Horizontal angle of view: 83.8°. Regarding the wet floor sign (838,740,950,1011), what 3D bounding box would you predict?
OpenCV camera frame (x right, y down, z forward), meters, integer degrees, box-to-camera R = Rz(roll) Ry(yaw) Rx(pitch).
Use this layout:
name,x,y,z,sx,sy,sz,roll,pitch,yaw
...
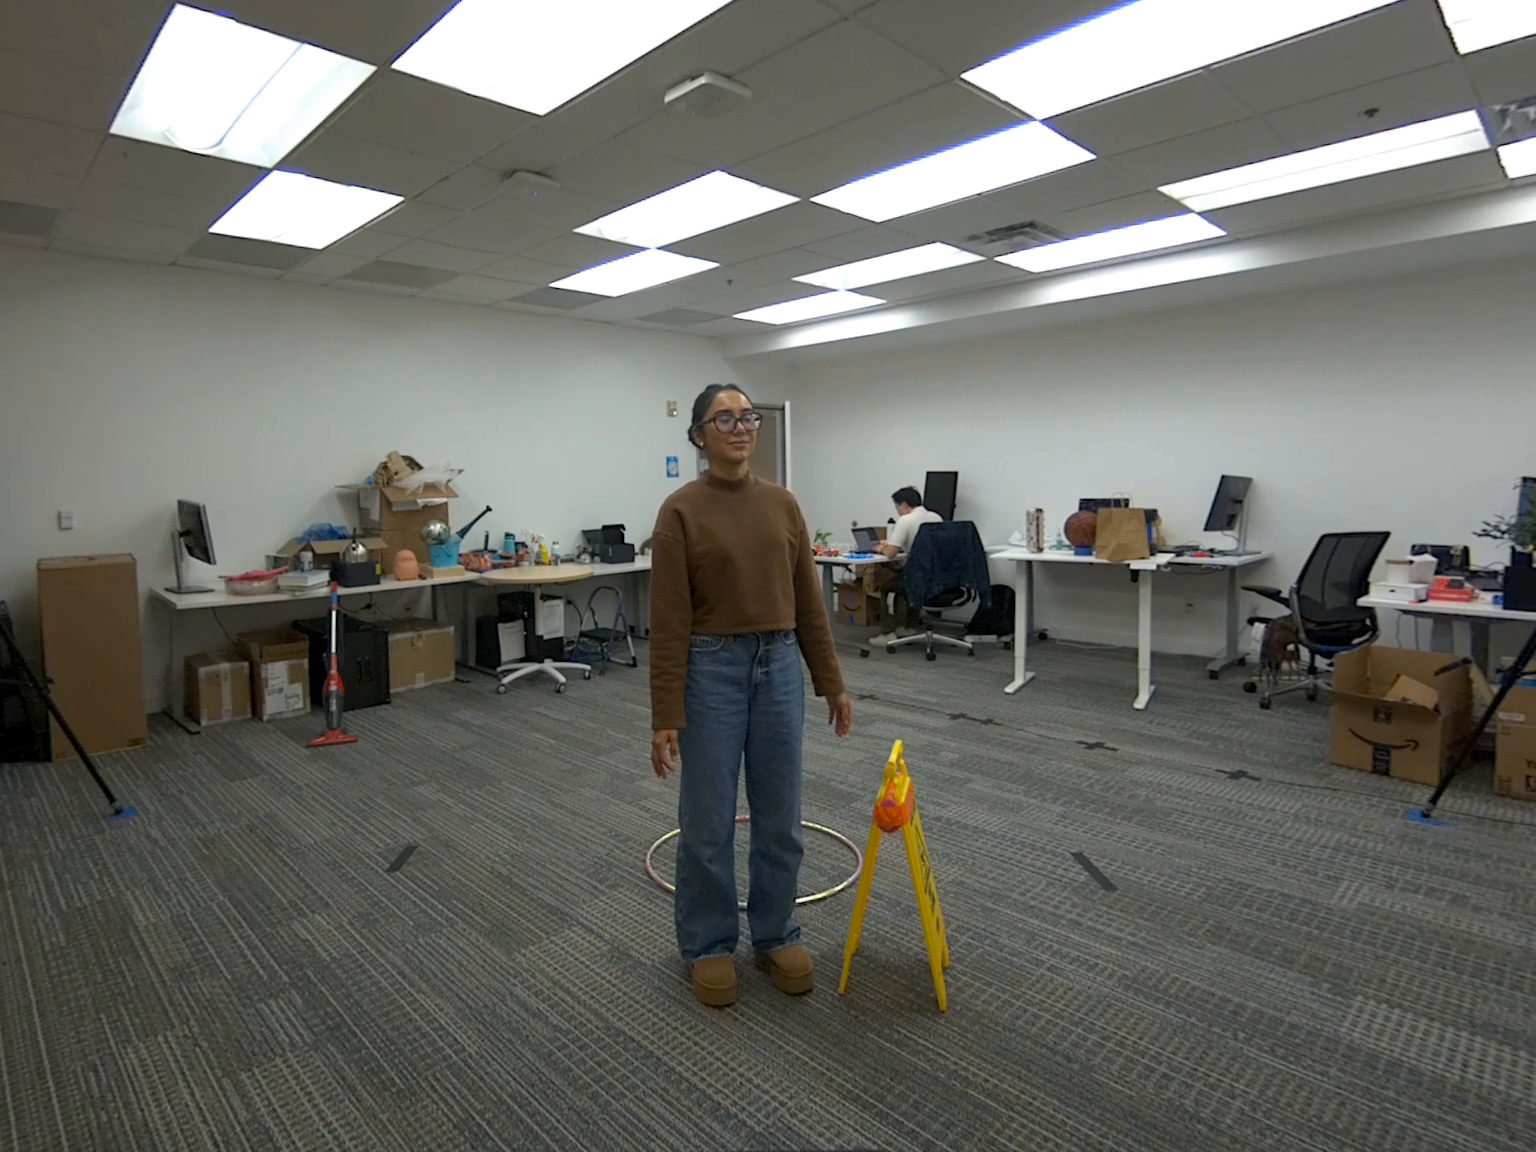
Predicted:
name,x,y,z,sx,sy,sz,roll,pitch,yaw
wet floor sign,0.357,0.794,2.373,0.294,0.643,0.279,0,5,16
